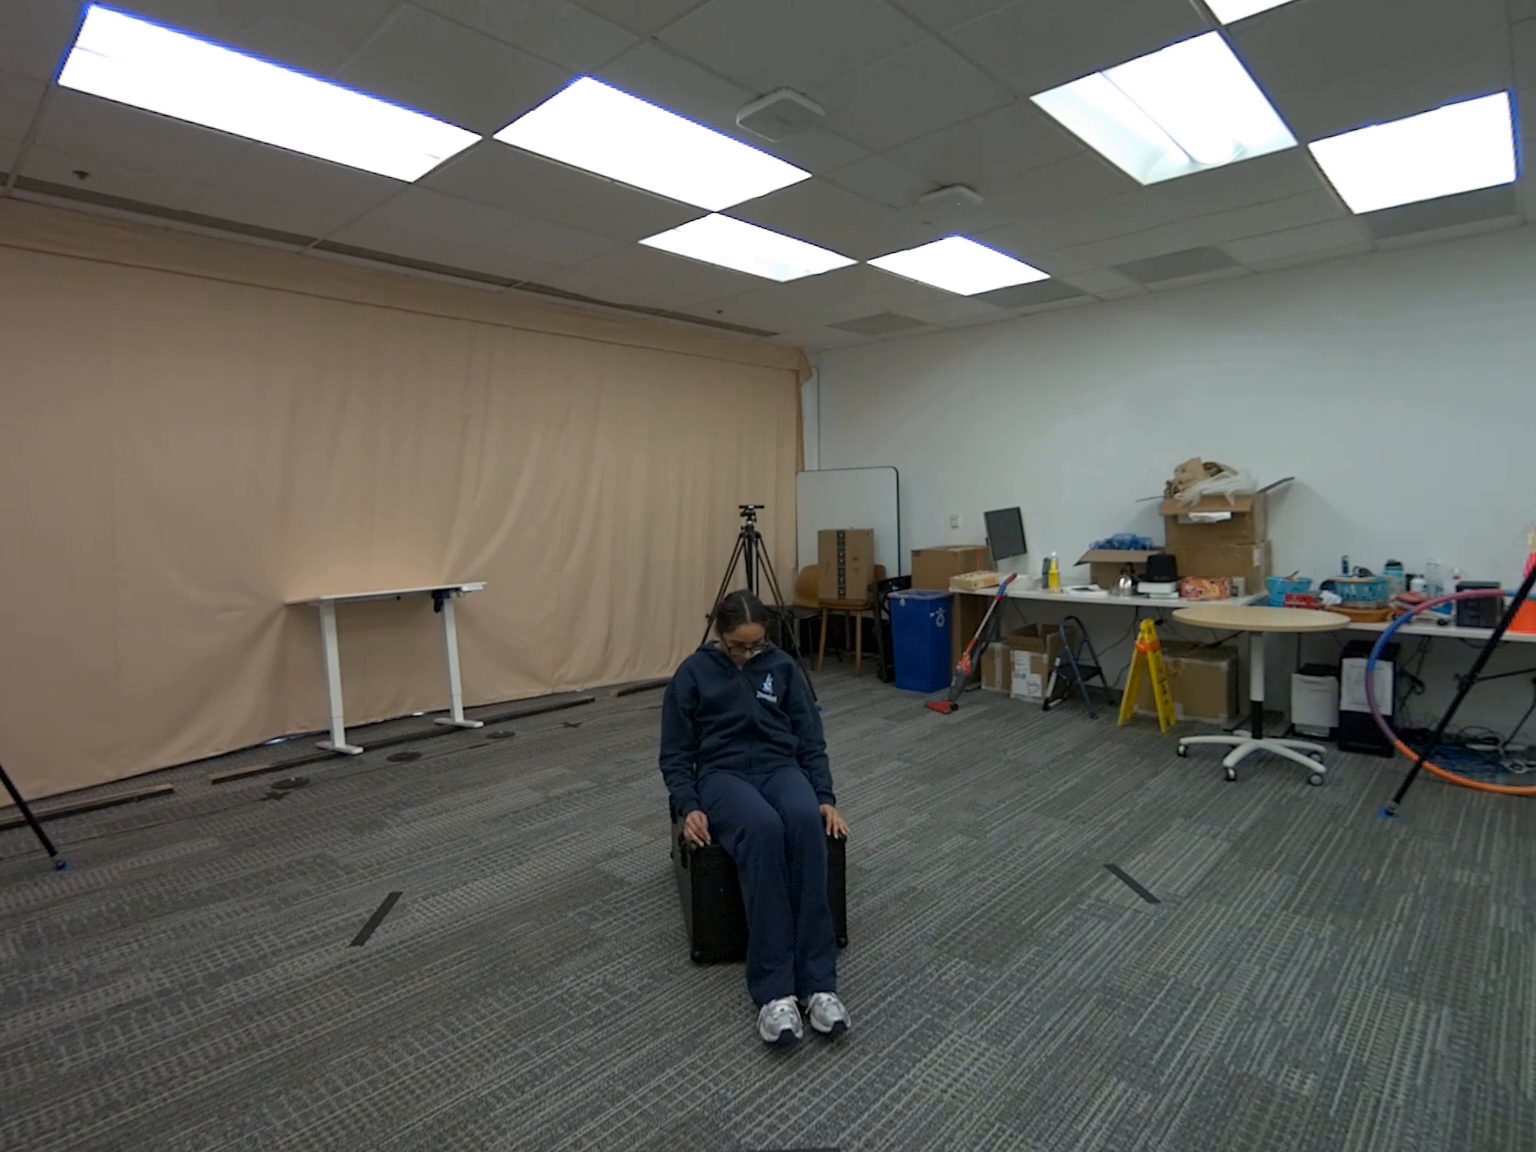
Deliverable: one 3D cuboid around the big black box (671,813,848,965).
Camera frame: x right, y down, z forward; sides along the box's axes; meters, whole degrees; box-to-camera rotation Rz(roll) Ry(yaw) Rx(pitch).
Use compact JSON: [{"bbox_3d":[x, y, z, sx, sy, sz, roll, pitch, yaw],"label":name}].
[{"bbox_3d":[-0.073,0.948,2.975,0.516,0.395,0.873,-2,5,-11],"label":"big black box"}]
